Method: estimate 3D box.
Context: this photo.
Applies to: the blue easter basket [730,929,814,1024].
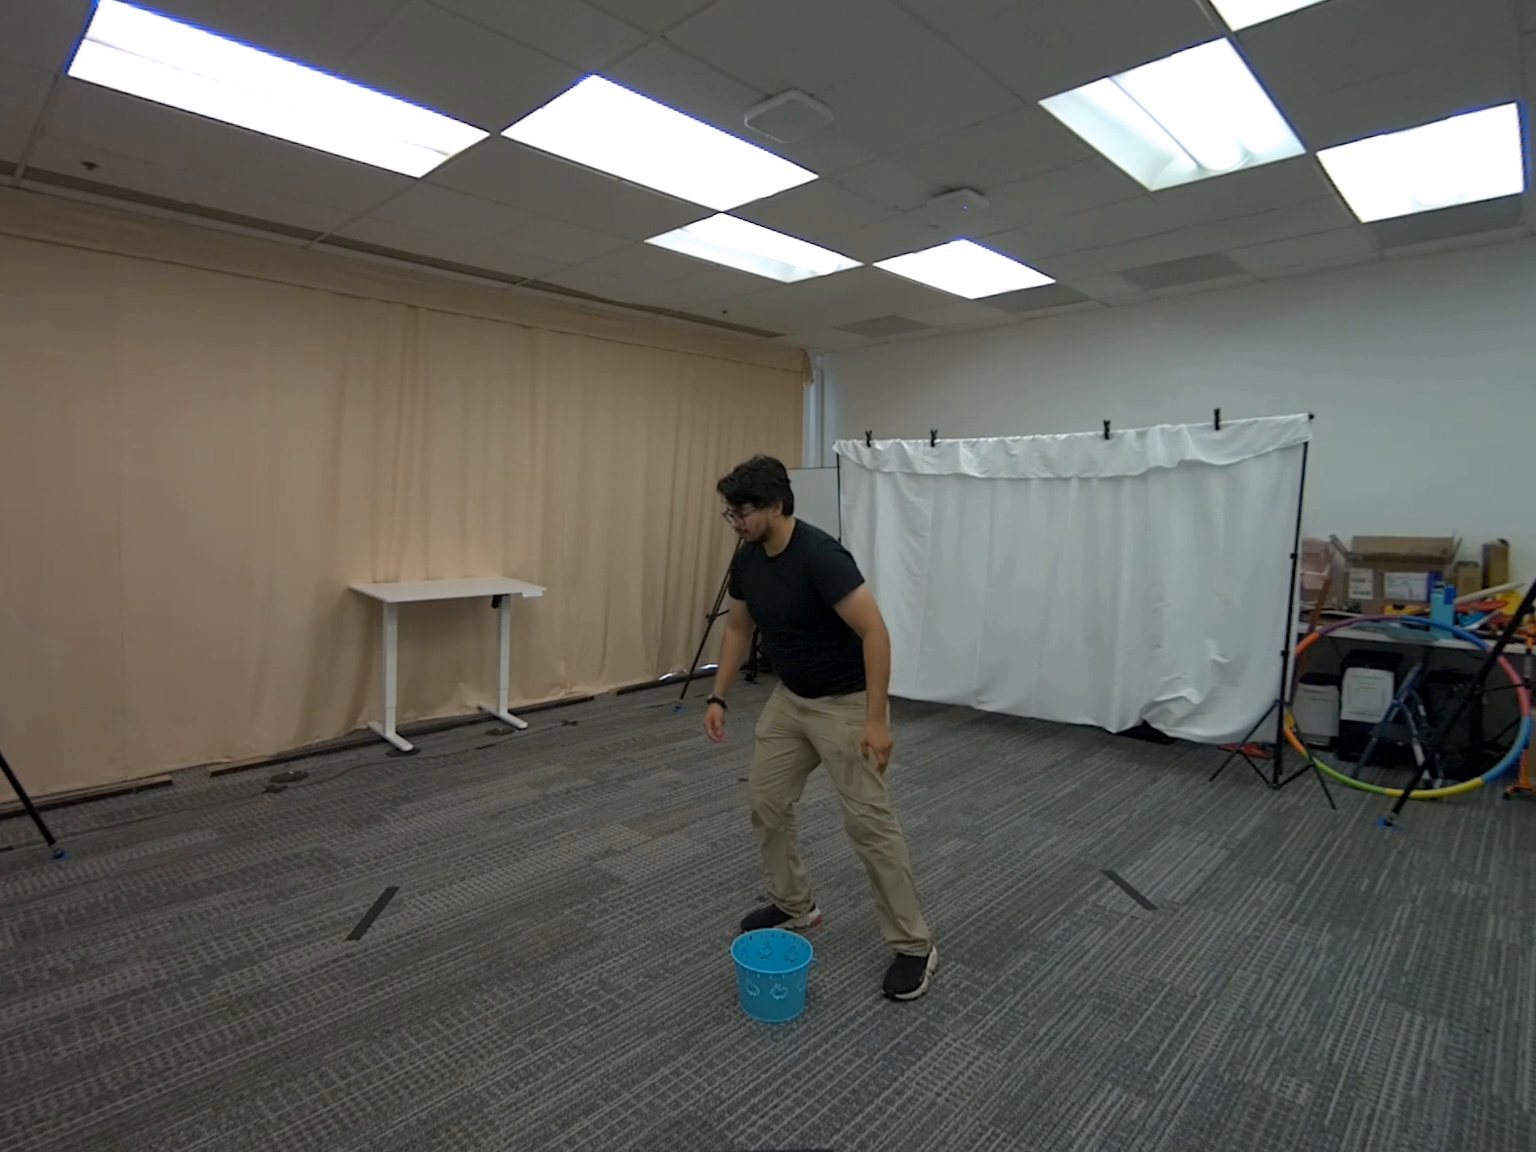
[{"bbox_3d":[0.013,1.119,2.356,0.243,0.155,0.244,-1,4,-2],"label":"blue easter basket"}]
